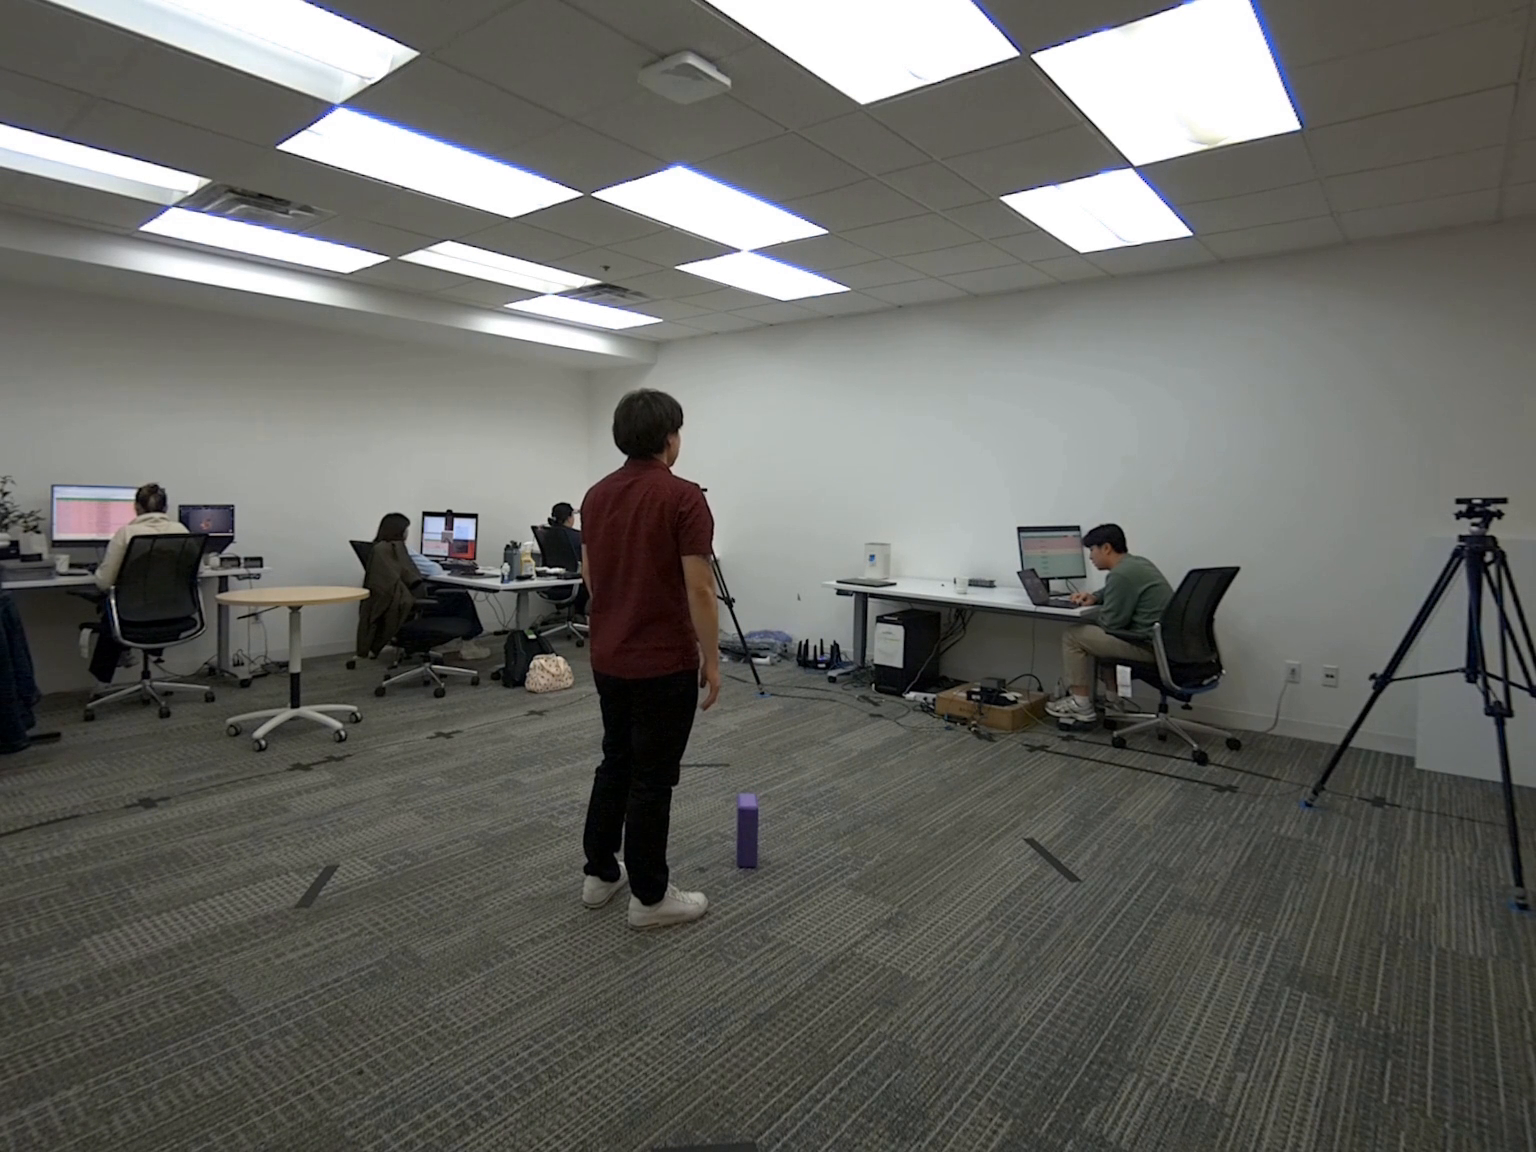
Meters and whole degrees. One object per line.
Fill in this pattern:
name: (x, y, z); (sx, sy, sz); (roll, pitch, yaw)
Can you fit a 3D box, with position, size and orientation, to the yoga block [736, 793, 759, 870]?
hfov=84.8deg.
yoga block: (-0.087, 0.951, 3.187); (0.076, 0.229, 0.149); (0, 3, -2)
